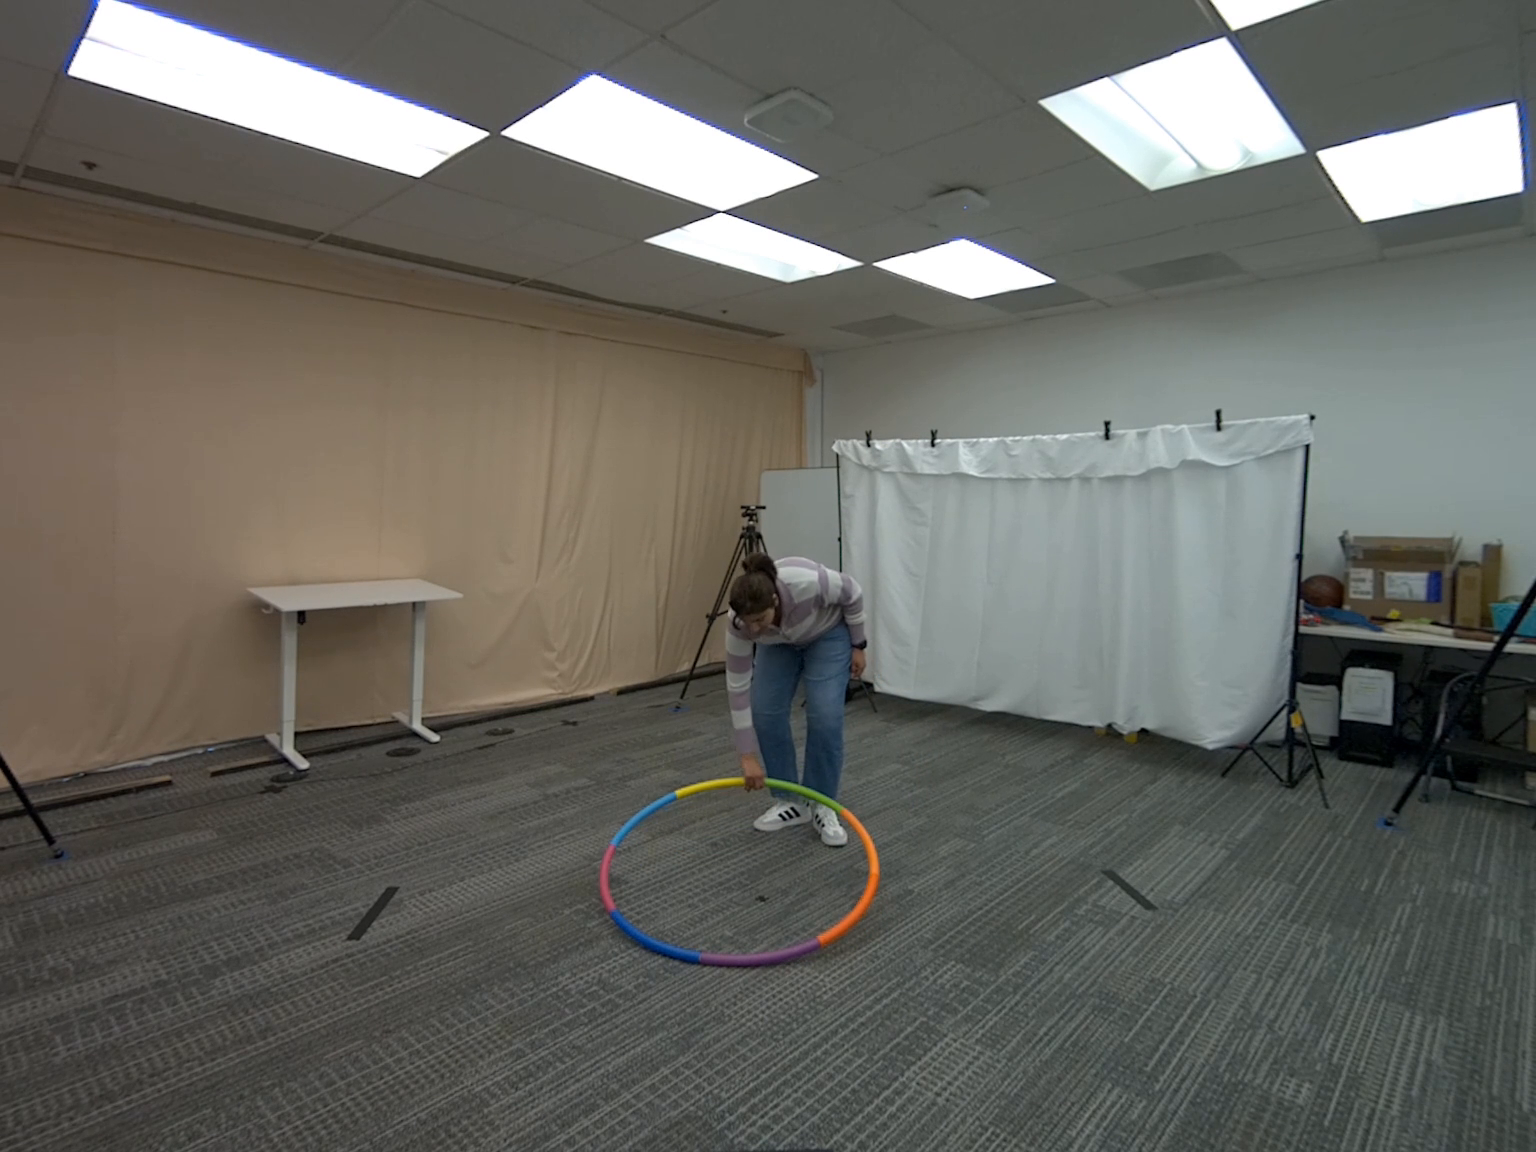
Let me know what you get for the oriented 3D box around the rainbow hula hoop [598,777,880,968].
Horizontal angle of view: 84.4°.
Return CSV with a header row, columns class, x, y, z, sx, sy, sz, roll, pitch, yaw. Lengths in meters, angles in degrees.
class,x,y,z,sx,sy,sz,roll,pitch,yaw
rainbow hula hoop,-0.107,1.003,2.995,0.979,0.035,0.991,-4,19,0
